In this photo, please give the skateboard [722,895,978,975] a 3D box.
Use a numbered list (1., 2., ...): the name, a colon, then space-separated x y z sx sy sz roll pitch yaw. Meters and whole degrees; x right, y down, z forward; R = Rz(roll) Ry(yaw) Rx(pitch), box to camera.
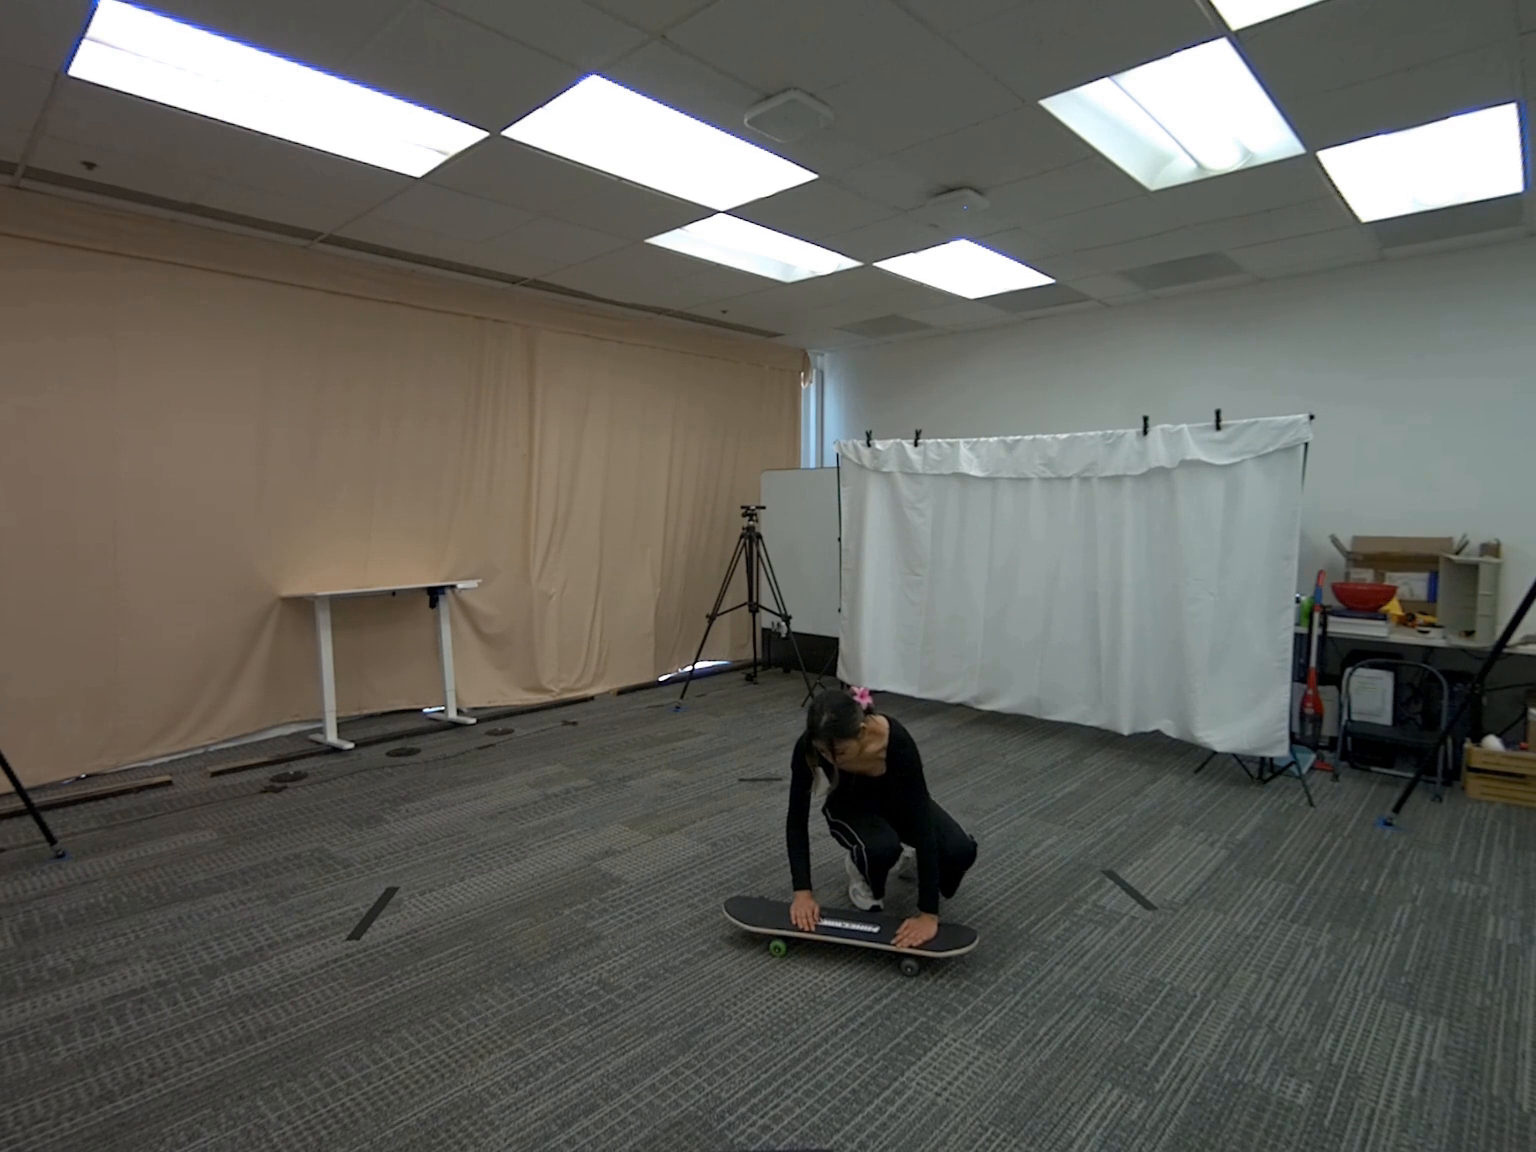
1. skateboard: 0.239 1.119 2.625 0.799 0.110 0.191 1 4 15
